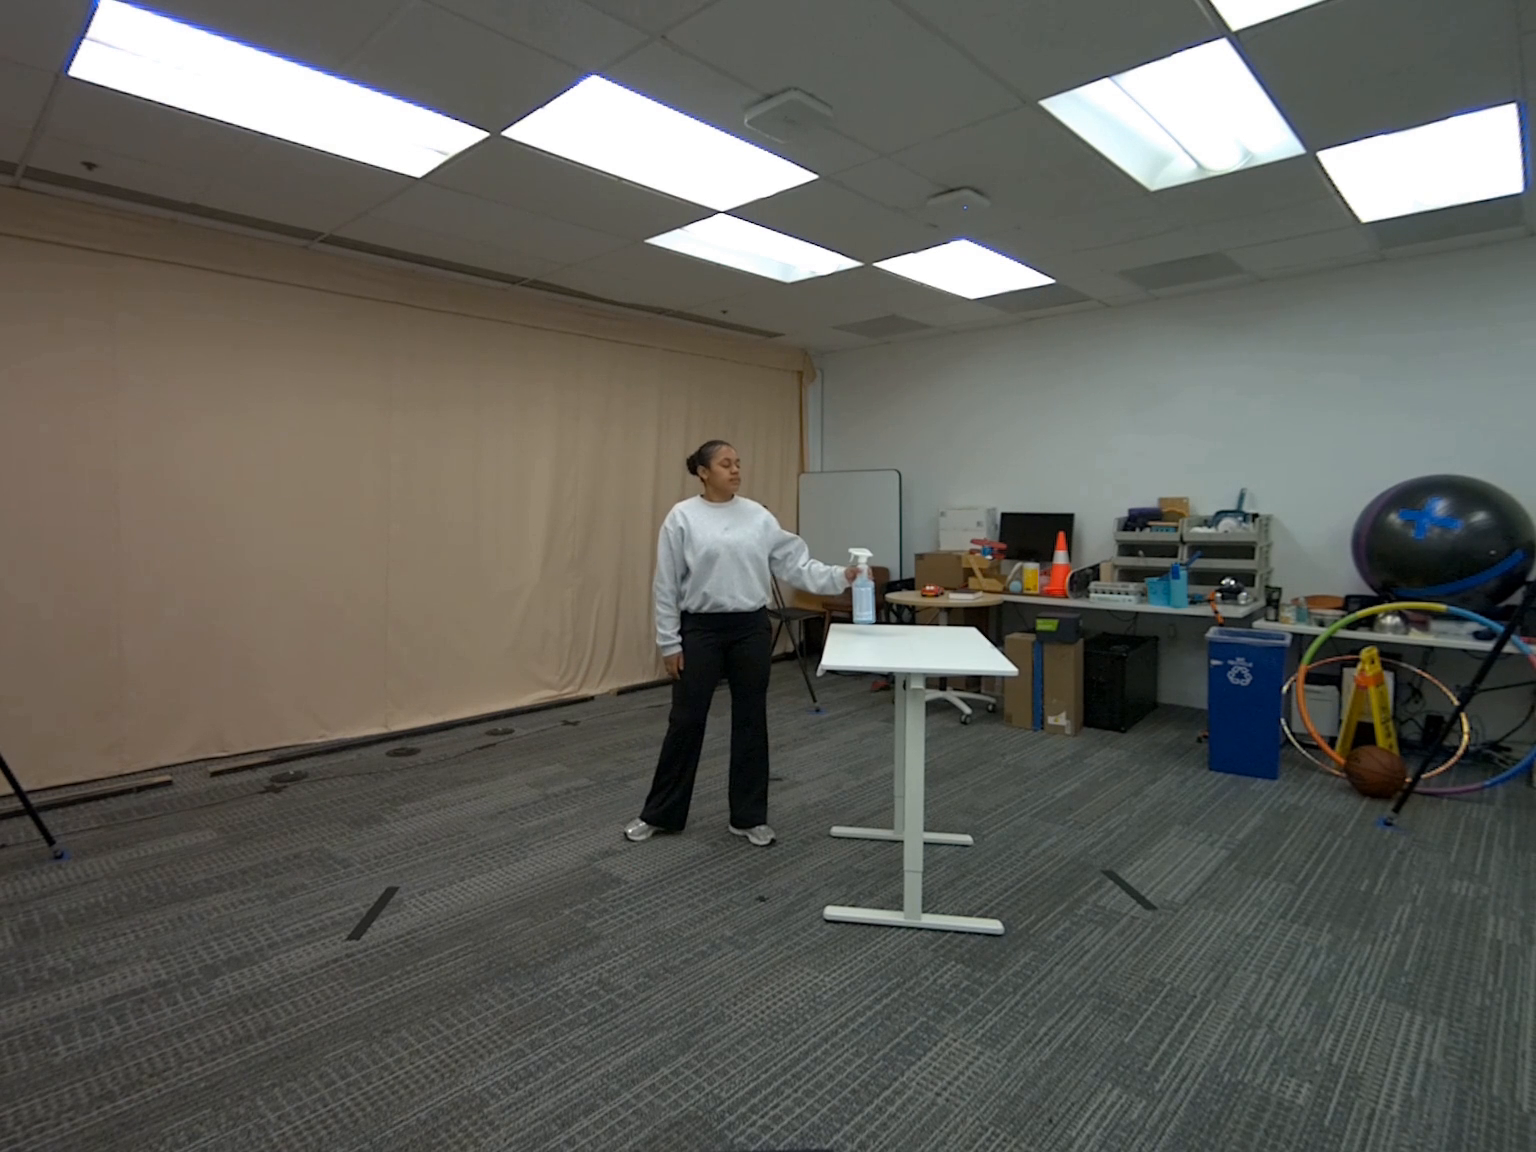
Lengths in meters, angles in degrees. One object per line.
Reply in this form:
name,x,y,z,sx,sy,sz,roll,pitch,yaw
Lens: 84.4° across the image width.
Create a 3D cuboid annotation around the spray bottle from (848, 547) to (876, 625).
spray bottle,0.374,0.039,3.335,0.093,0.296,0.084,-3,4,38
